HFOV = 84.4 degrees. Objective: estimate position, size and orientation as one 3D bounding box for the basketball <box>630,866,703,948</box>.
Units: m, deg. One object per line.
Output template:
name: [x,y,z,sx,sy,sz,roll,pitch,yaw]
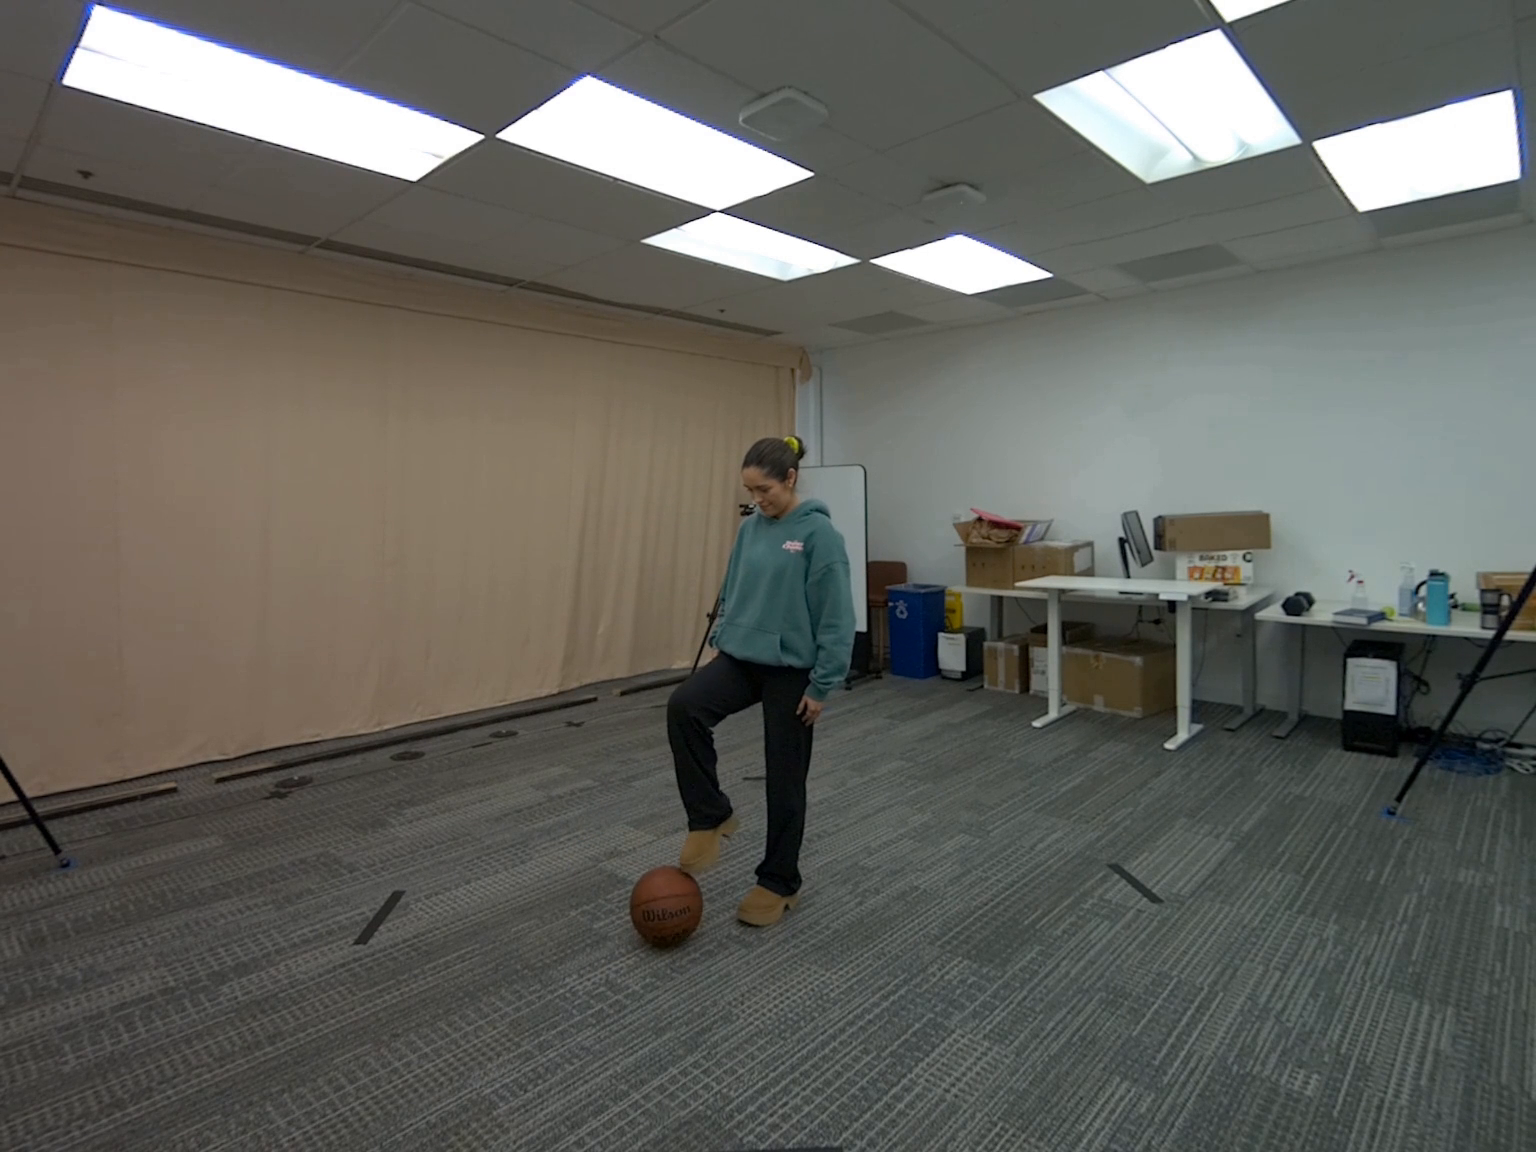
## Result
basketball: [-0.330,1.053,2.691,0.236,0.235,0.237,-1,4,-2]
